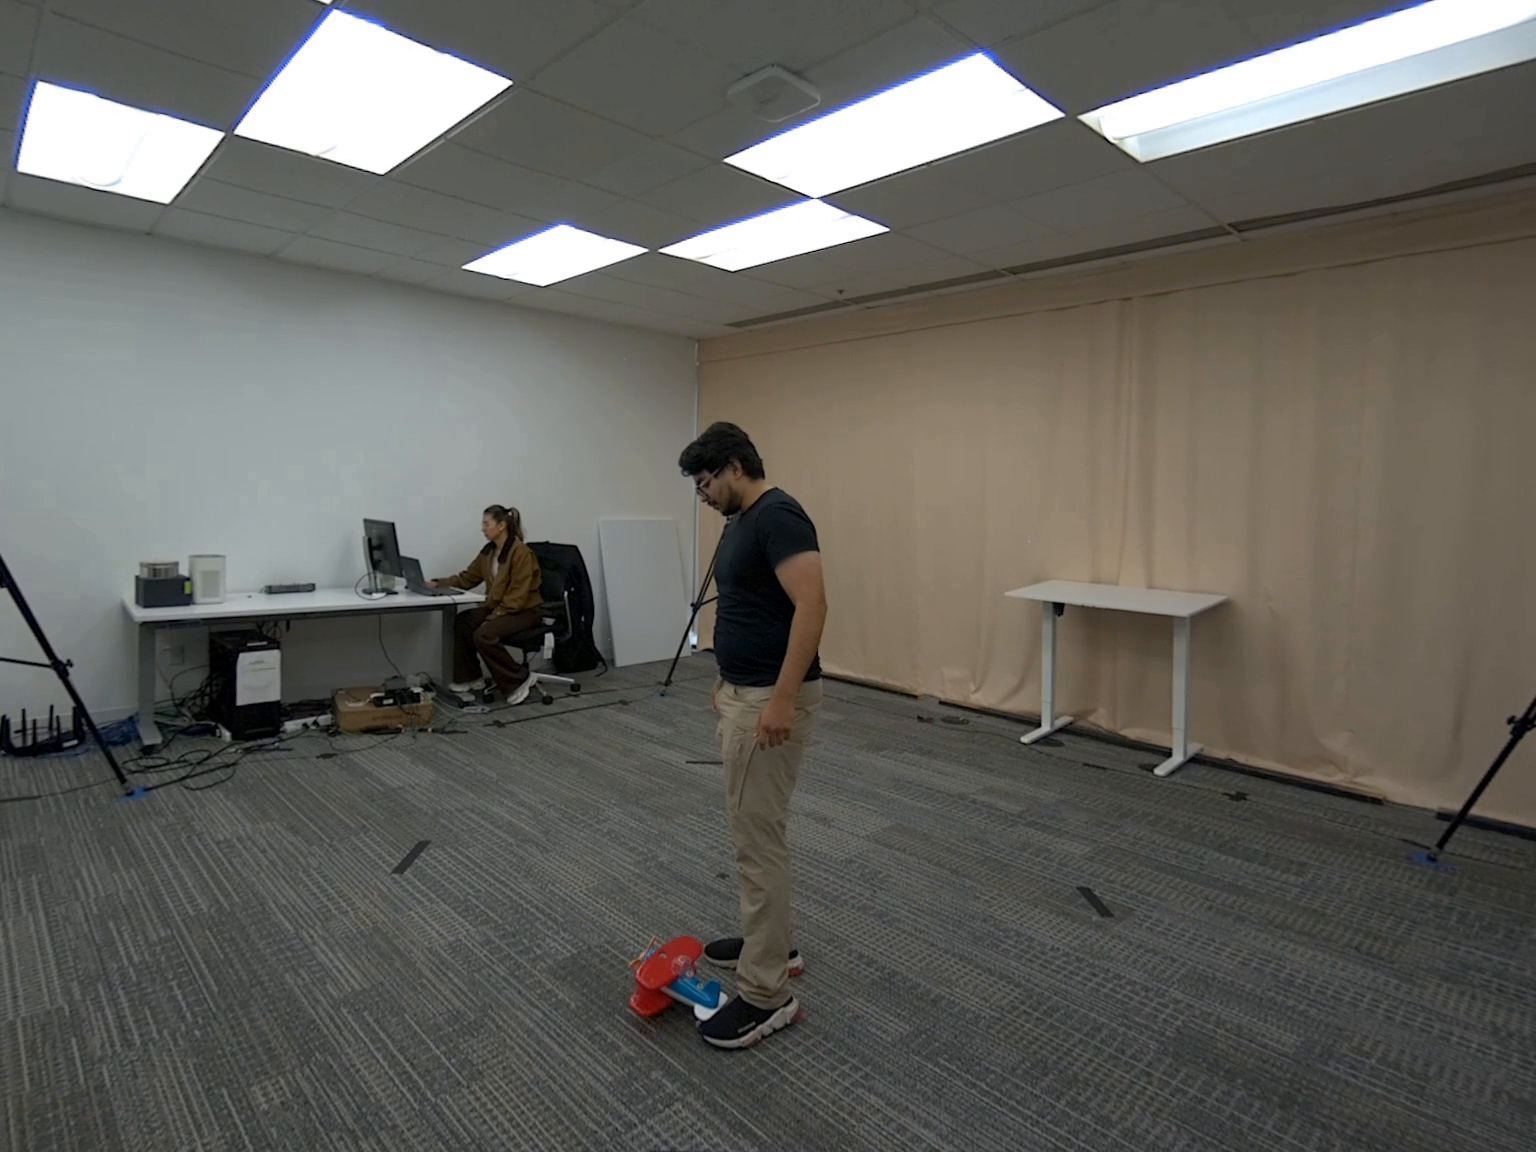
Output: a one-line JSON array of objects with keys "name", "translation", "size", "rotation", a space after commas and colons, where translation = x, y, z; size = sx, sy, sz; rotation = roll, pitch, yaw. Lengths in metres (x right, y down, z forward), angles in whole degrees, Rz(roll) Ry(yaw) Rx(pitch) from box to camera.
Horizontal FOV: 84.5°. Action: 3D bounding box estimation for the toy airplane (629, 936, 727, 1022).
[{"name": "toy airplane", "translation": [-0.244, 1.111, 2.274], "size": [0.259, 0.156, 0.252], "rotation": [-1, 5, 1]}]
